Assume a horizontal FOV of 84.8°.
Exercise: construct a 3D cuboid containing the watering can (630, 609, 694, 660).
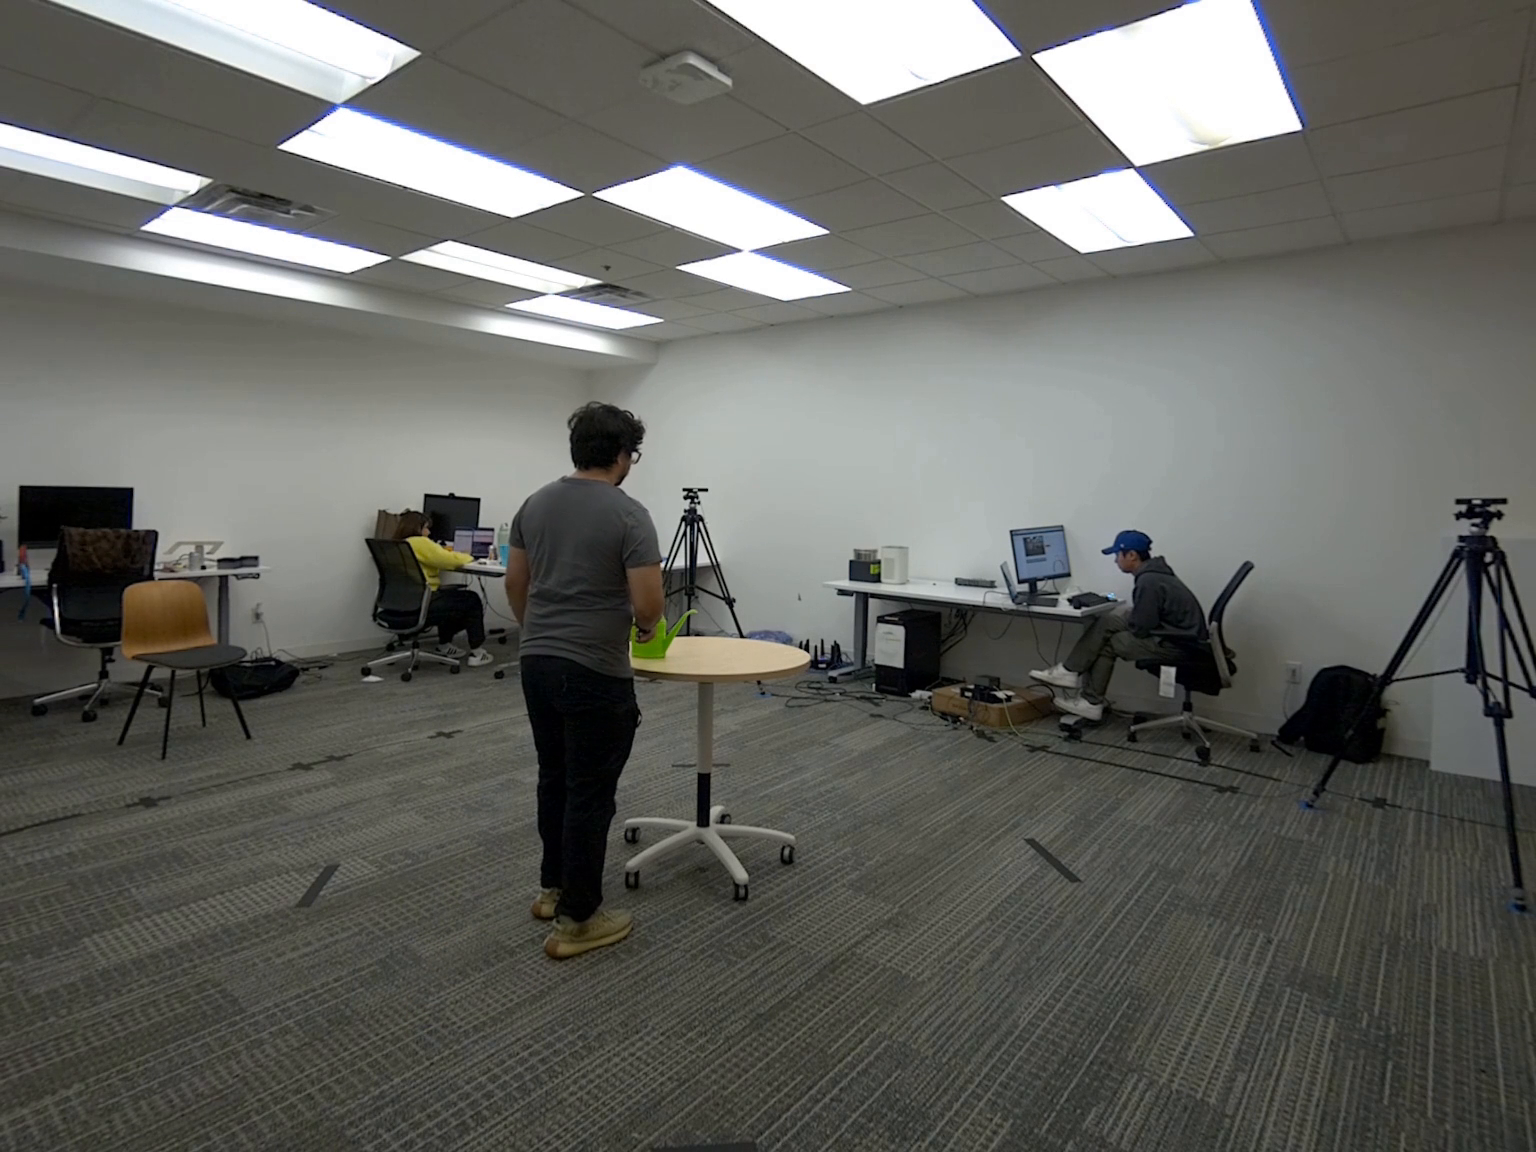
[{"bbox_3d":[-0.403,0.201,3.030,0.286,0.176,0.095,1,2,33],"label":"watering can"}]
